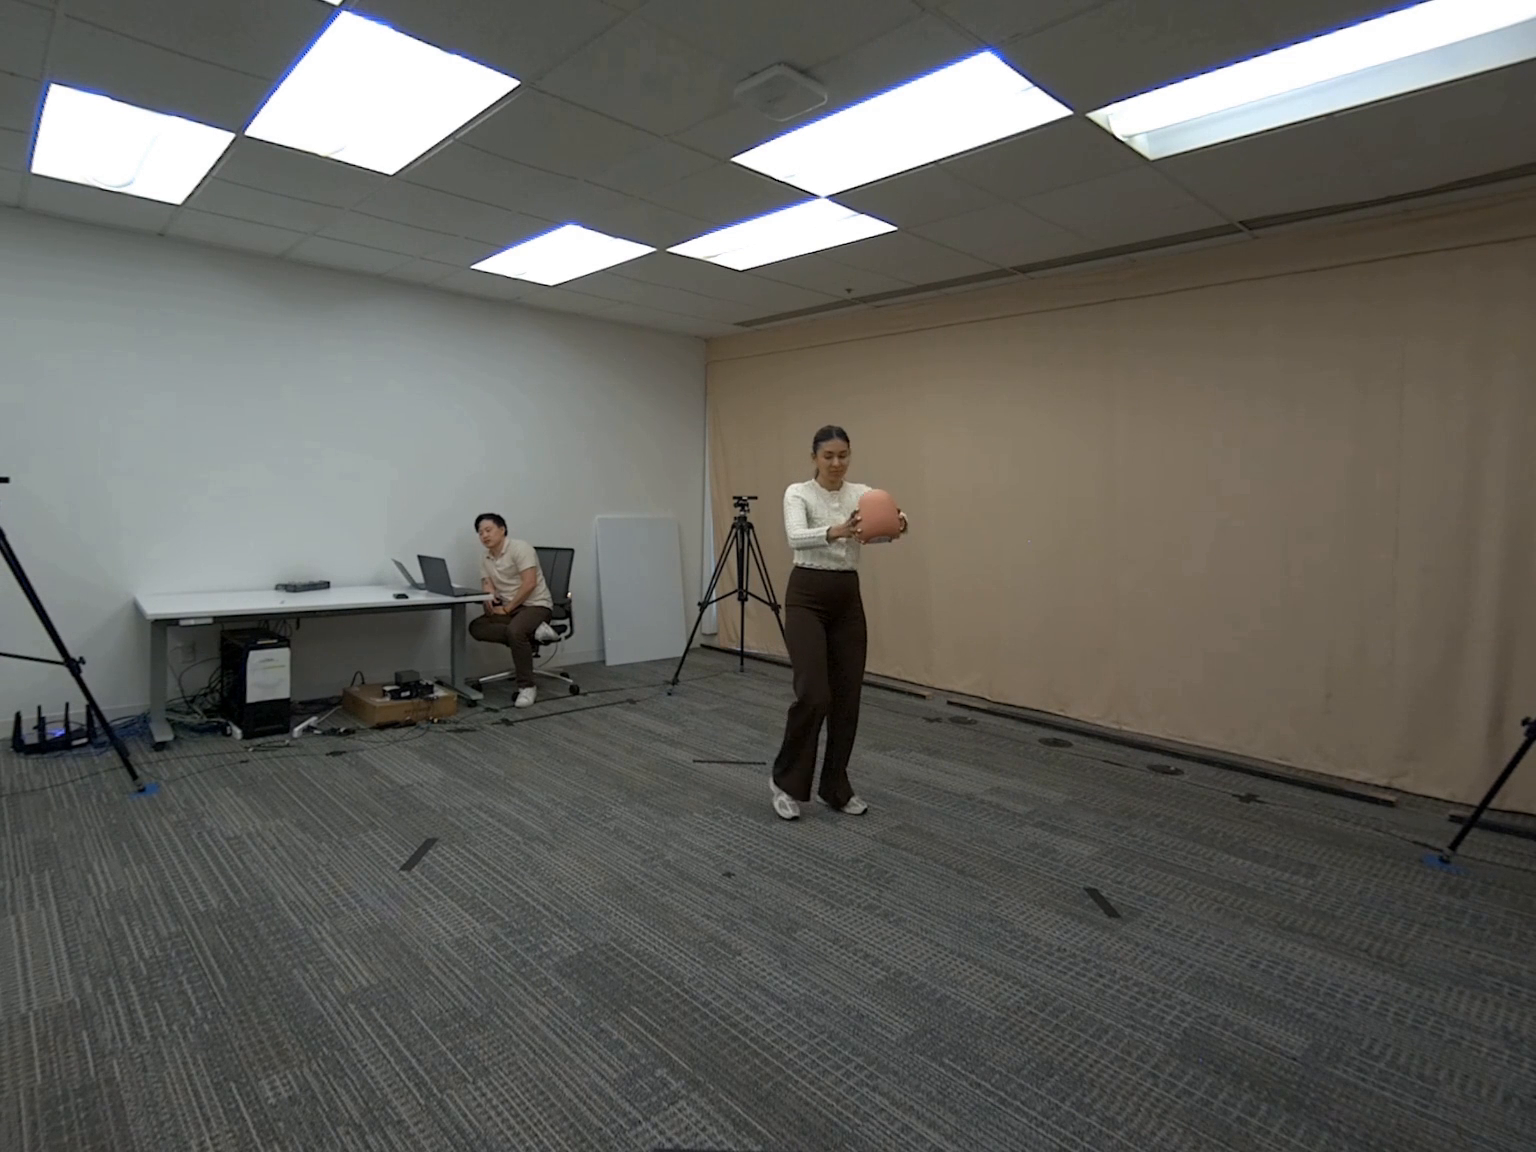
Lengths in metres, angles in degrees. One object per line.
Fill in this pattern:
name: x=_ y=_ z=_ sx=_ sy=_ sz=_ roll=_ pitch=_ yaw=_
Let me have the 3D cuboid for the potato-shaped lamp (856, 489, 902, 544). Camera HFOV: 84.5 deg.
potato-shaped lamp: x=0.390 y=-0.239 z=3.189 sx=0.167 sy=0.198 sz=0.170 roll=-13 pitch=3 yaw=21
